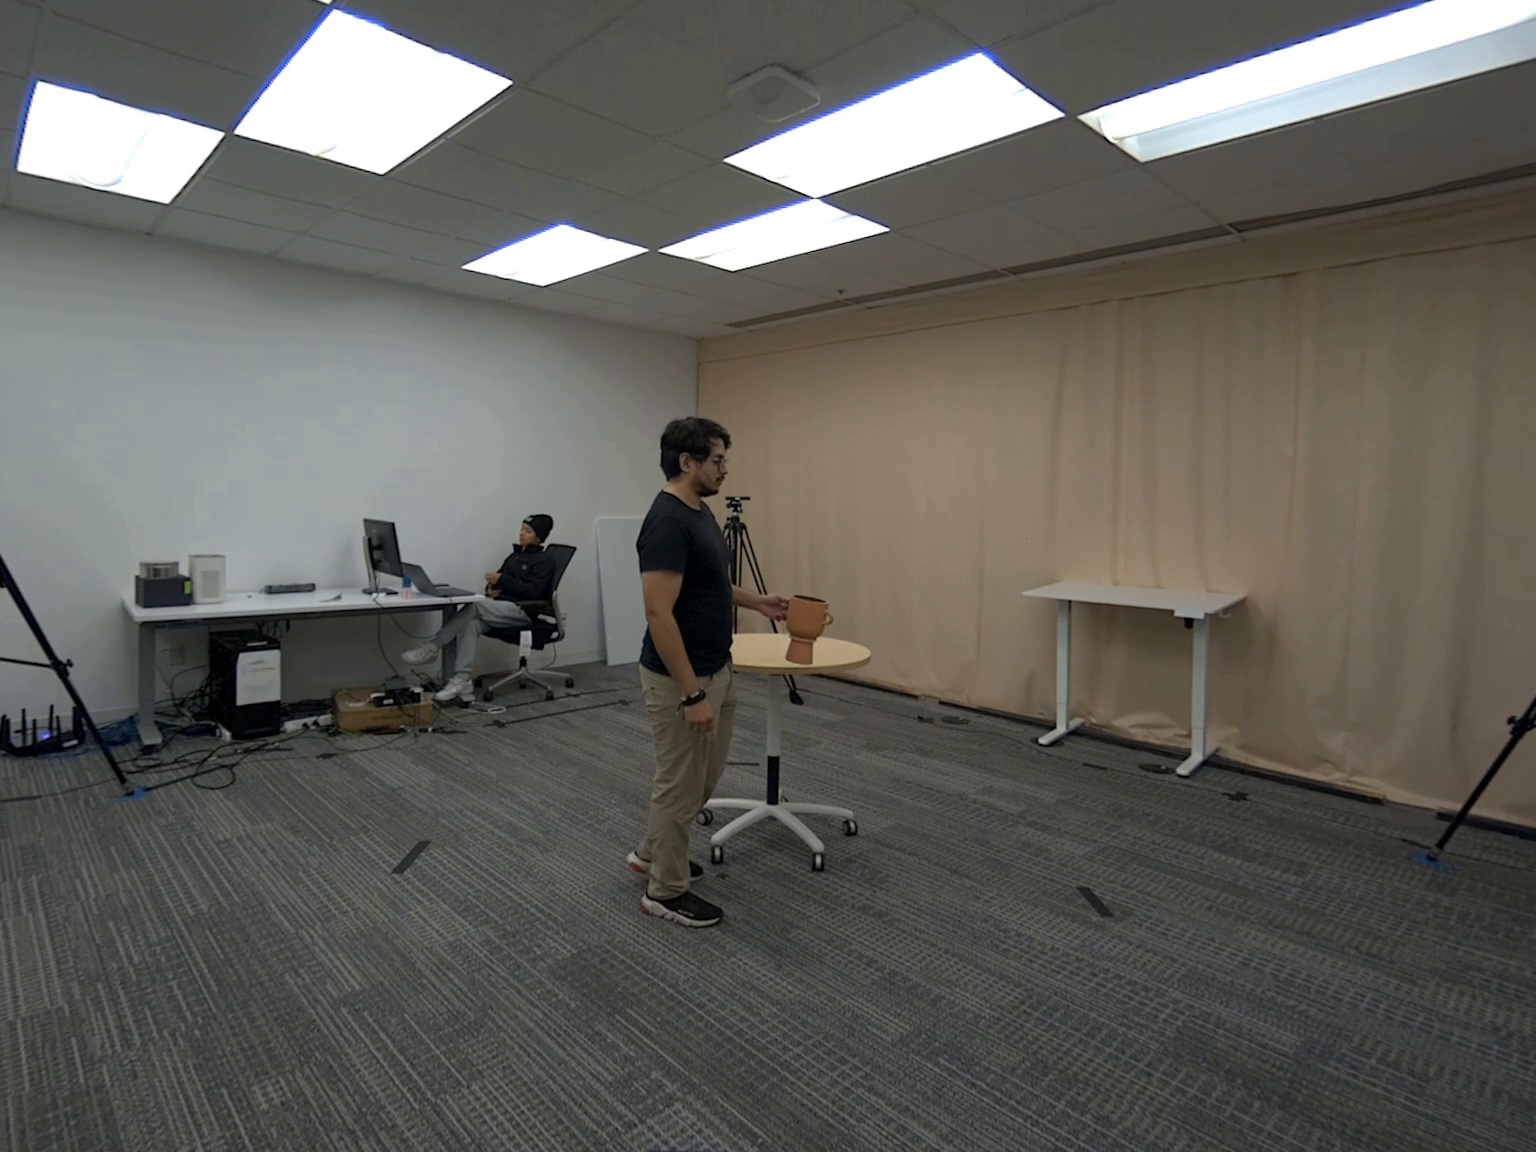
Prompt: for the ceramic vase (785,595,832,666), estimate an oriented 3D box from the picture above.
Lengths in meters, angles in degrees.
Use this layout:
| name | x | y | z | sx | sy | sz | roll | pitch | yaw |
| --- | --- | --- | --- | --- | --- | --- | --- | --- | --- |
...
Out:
| name | x | y | z | sx | sy | sz | roll | pitch | yaw |
| --- | --- | --- | --- | --- | --- | --- | --- | --- | --- |
| ceramic vase | 0.115 | 0.187 | 2.895 | 0.132 | 0.219 | 0.162 | 8 | 5 | -19 |
